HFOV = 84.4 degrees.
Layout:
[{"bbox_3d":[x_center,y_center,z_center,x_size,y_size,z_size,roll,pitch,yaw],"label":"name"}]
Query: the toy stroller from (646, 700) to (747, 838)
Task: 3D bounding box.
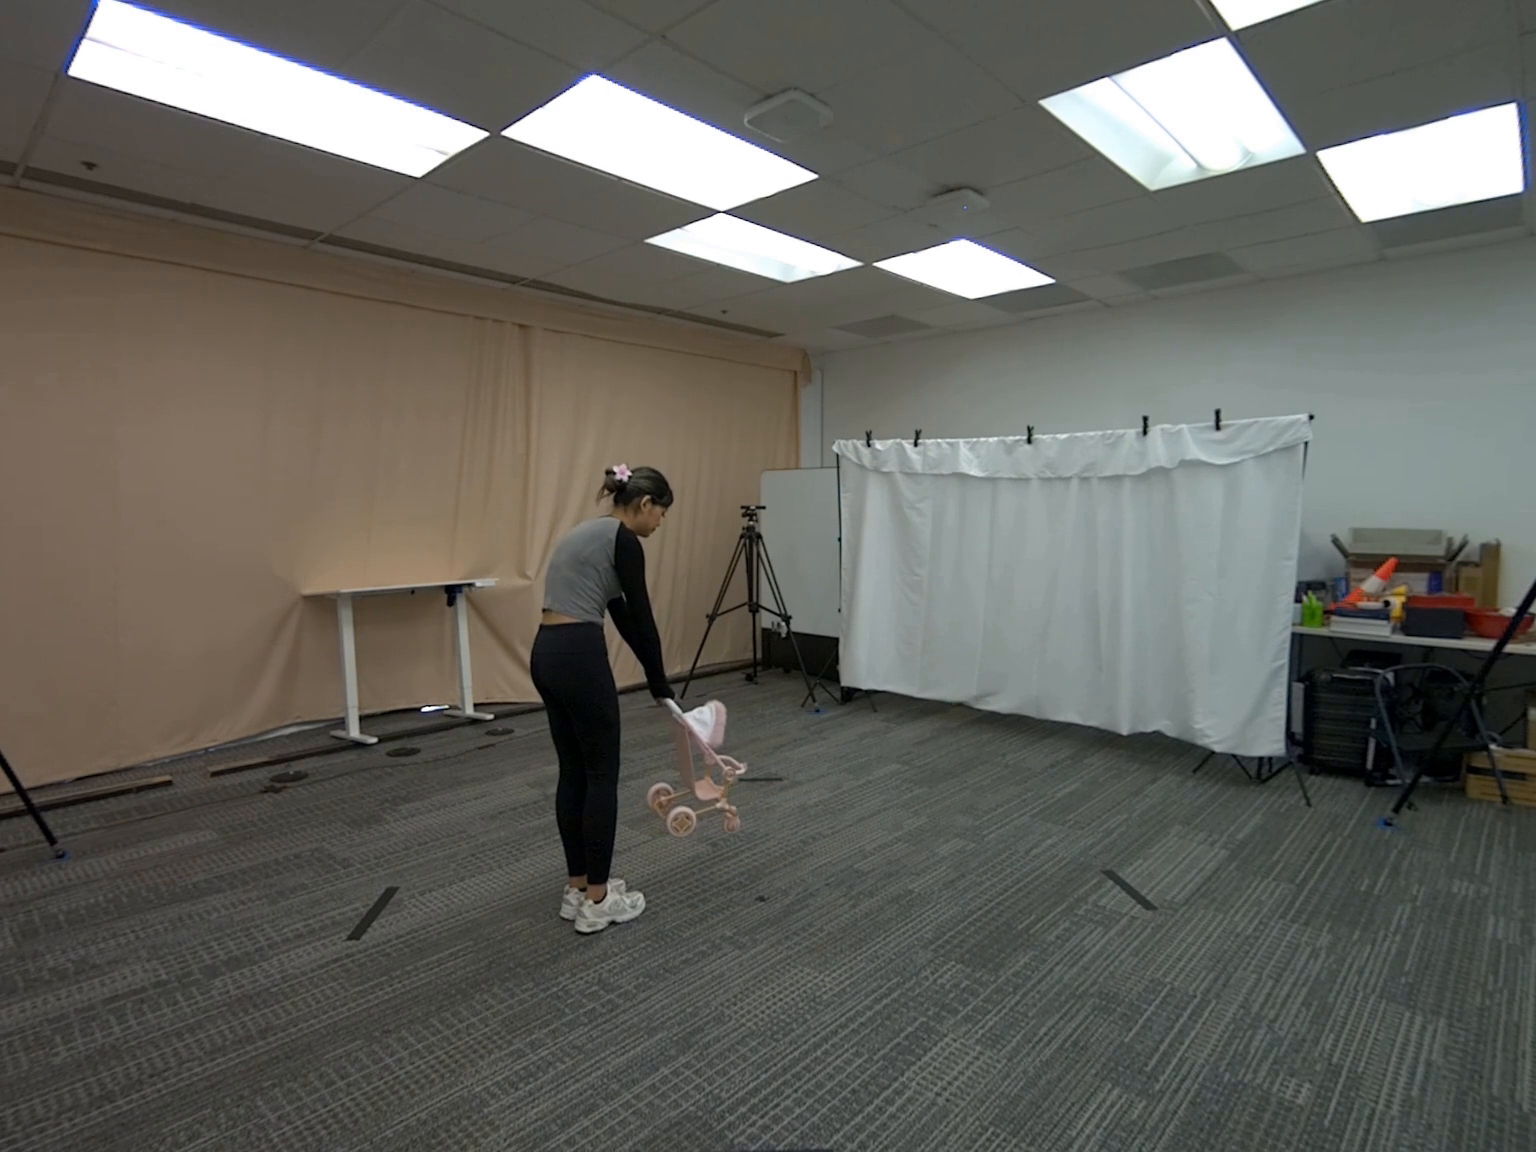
[{"bbox_3d":[-0.241,0.692,3.063,0.335,0.534,0.287,1,2,-18],"label":"toy stroller"}]
